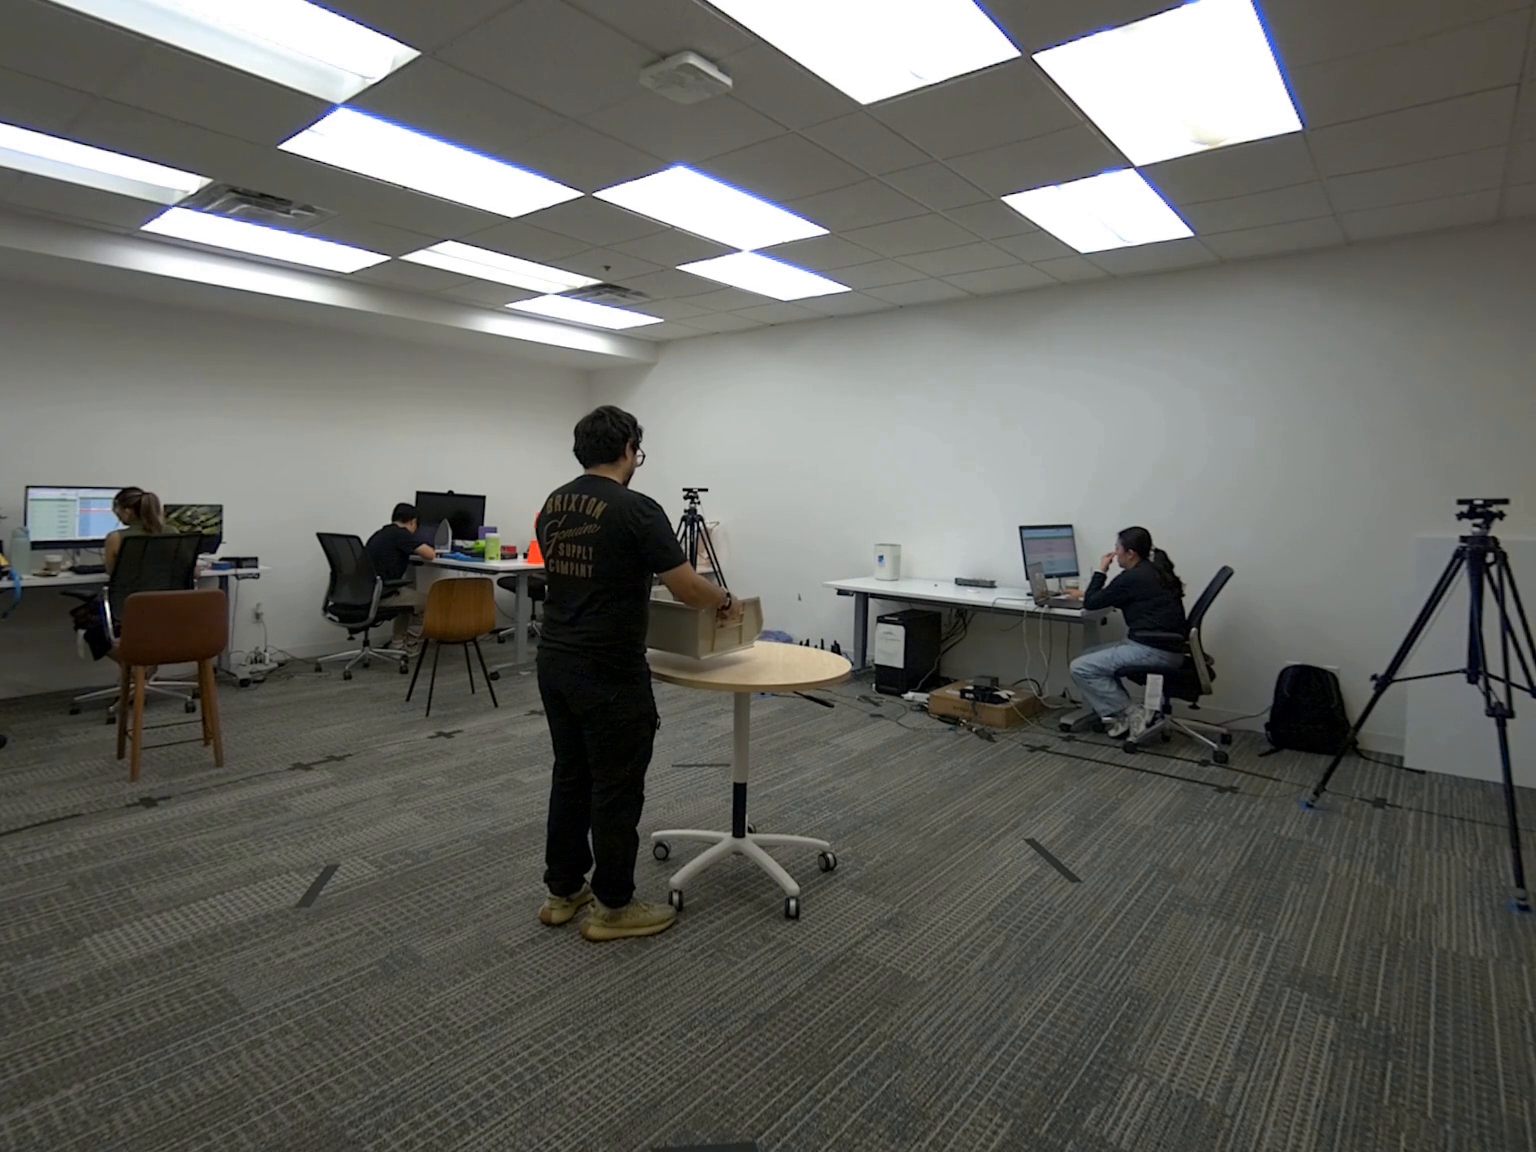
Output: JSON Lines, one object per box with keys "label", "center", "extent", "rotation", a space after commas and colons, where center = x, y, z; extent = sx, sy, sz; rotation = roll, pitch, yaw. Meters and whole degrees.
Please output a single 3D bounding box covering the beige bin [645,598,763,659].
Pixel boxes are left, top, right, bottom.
{"label": "beige bin", "center": [-0.303, 0.151, 3.003], "extent": [0.436, 0.188, 0.367], "rotation": [6, 8, 34]}
